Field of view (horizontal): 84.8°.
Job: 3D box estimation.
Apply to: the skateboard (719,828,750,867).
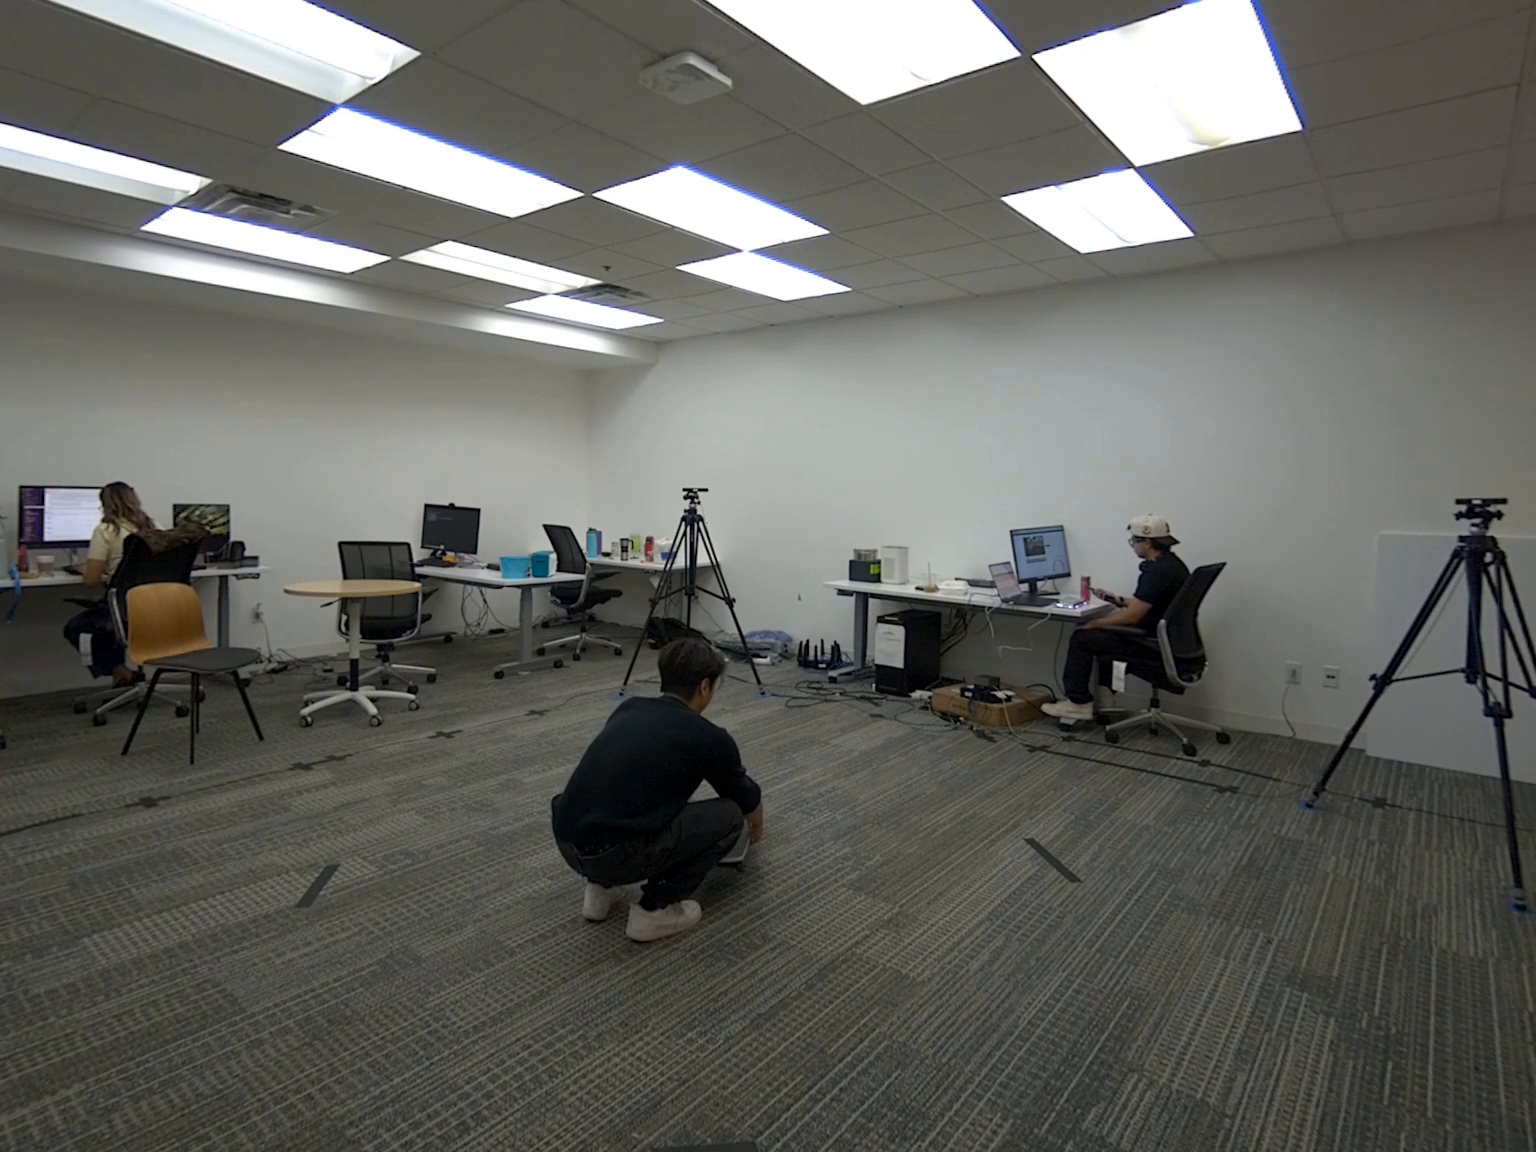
[{"bbox_3d":[-0.157,0.980,3.202,0.195,0.110,0.779,1,2,6],"label":"skateboard"}]
